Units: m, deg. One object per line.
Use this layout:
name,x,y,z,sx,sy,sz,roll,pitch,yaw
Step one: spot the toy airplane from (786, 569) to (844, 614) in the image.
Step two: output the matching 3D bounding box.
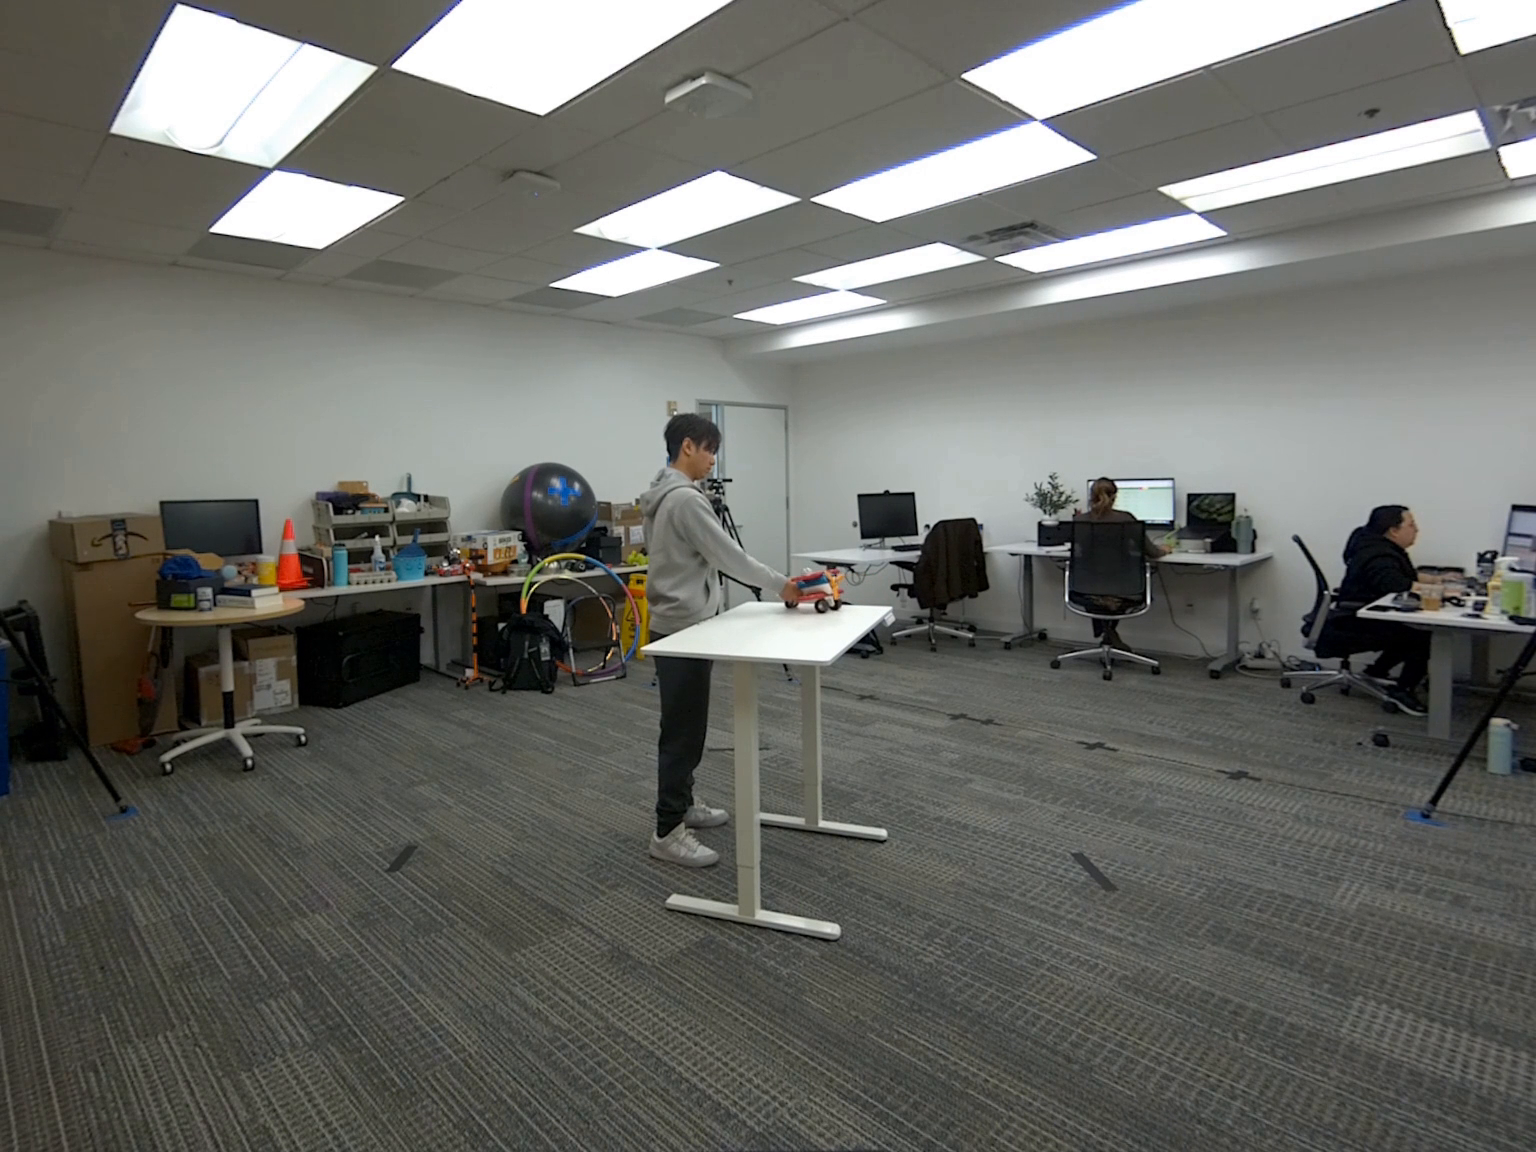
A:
toy airplane,0.153,0.056,3.299,0.263,0.156,0.249,1,6,13
